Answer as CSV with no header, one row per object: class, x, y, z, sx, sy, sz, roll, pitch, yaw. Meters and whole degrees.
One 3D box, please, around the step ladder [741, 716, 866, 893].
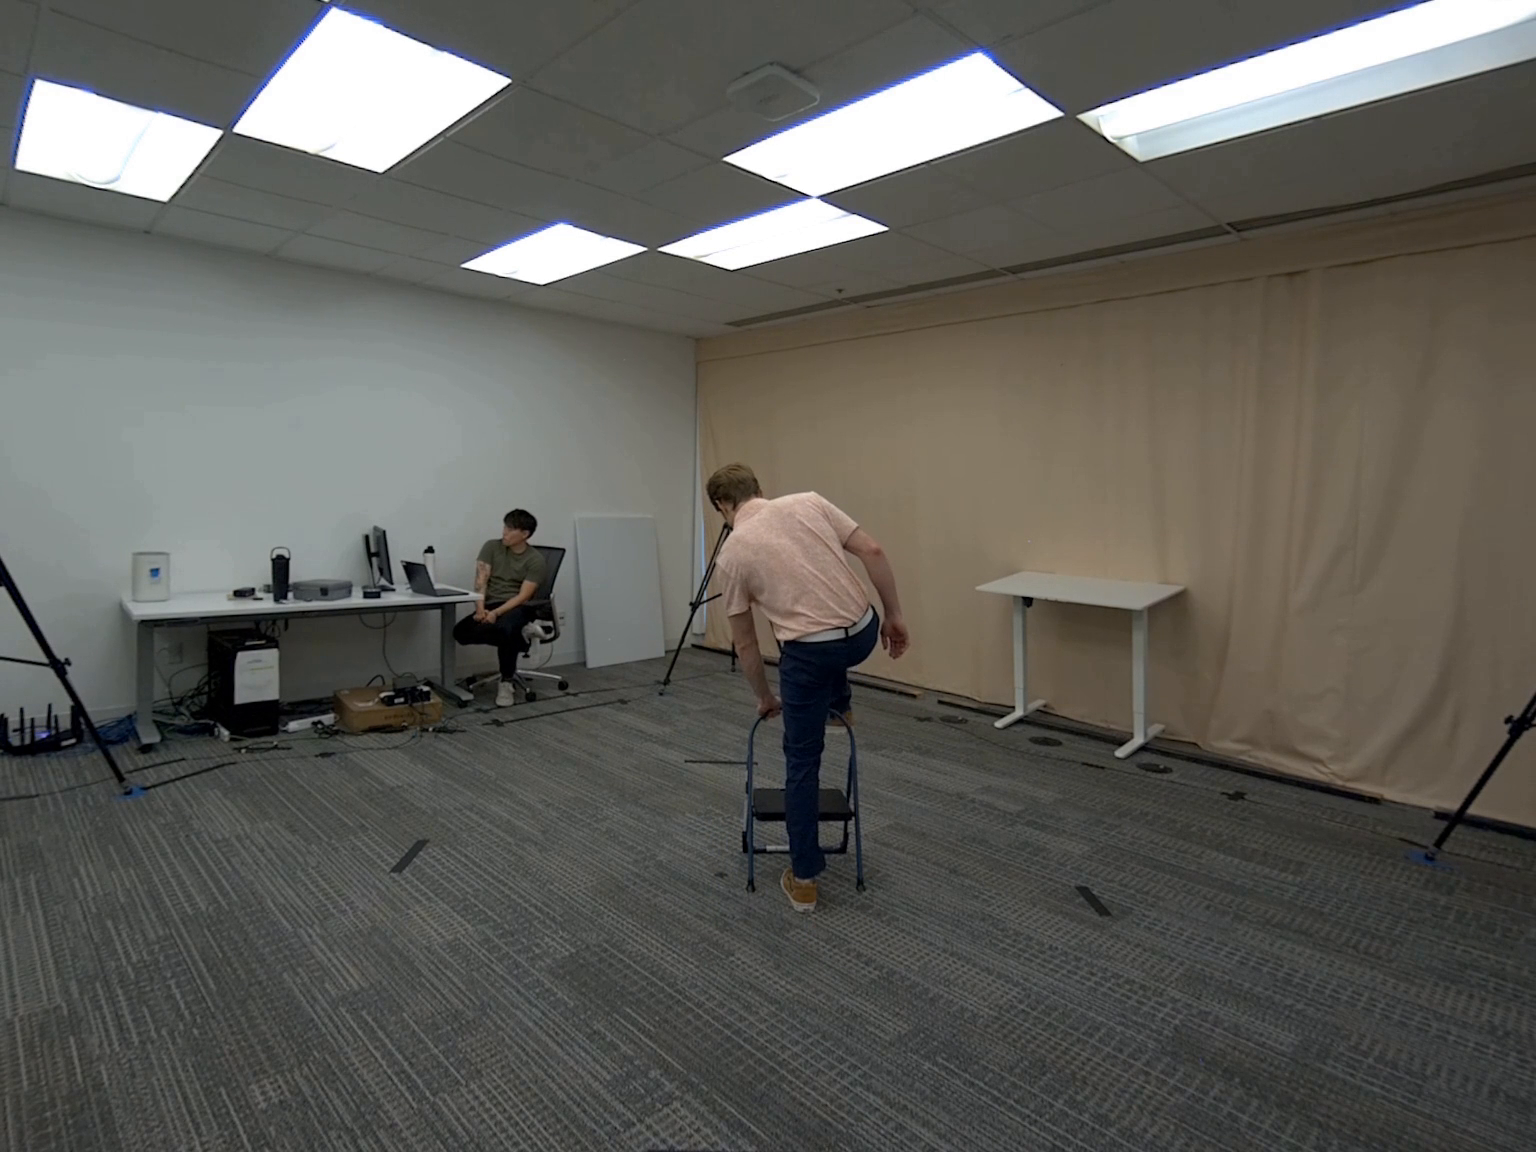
step ladder,0.124,0.807,3.149,0.429,0.605,0.351,2,3,-5
